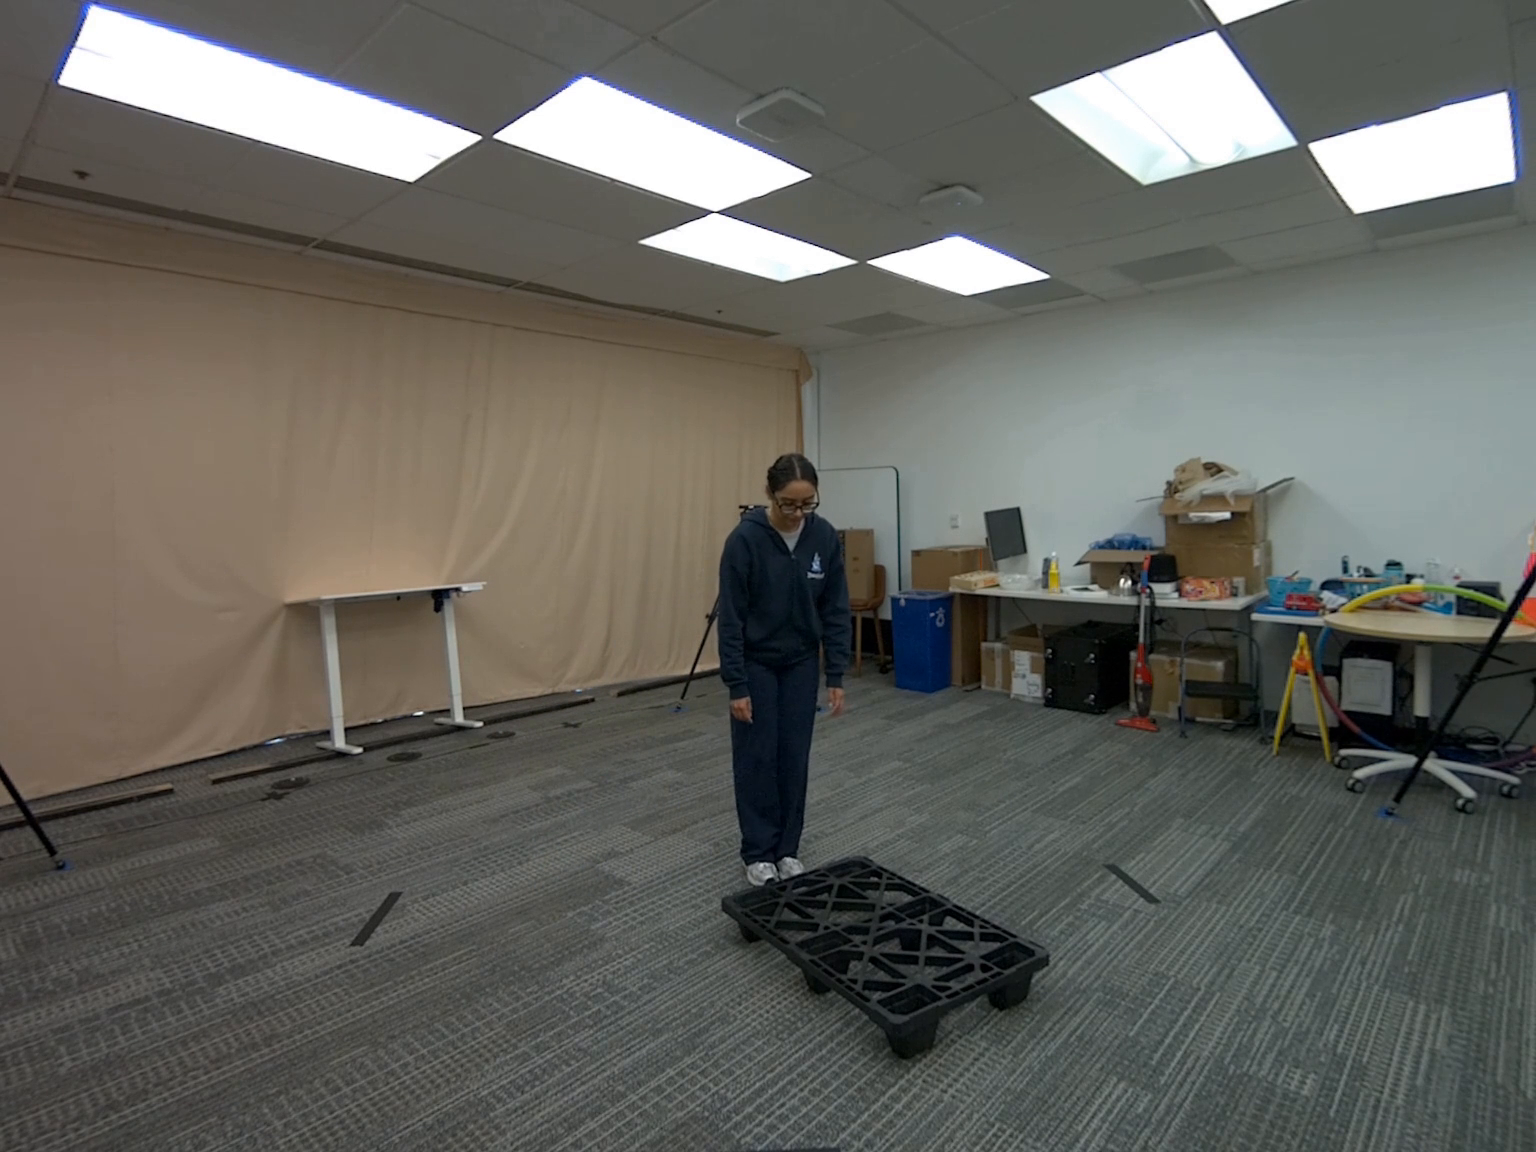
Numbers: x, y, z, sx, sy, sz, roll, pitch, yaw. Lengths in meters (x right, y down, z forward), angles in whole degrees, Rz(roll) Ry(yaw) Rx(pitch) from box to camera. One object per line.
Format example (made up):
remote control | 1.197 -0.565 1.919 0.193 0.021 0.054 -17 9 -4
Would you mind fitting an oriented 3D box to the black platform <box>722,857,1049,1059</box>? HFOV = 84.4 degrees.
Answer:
black platform | 0.325 1.109 2.527 0.588 0.143 0.831 -4 6 -34
